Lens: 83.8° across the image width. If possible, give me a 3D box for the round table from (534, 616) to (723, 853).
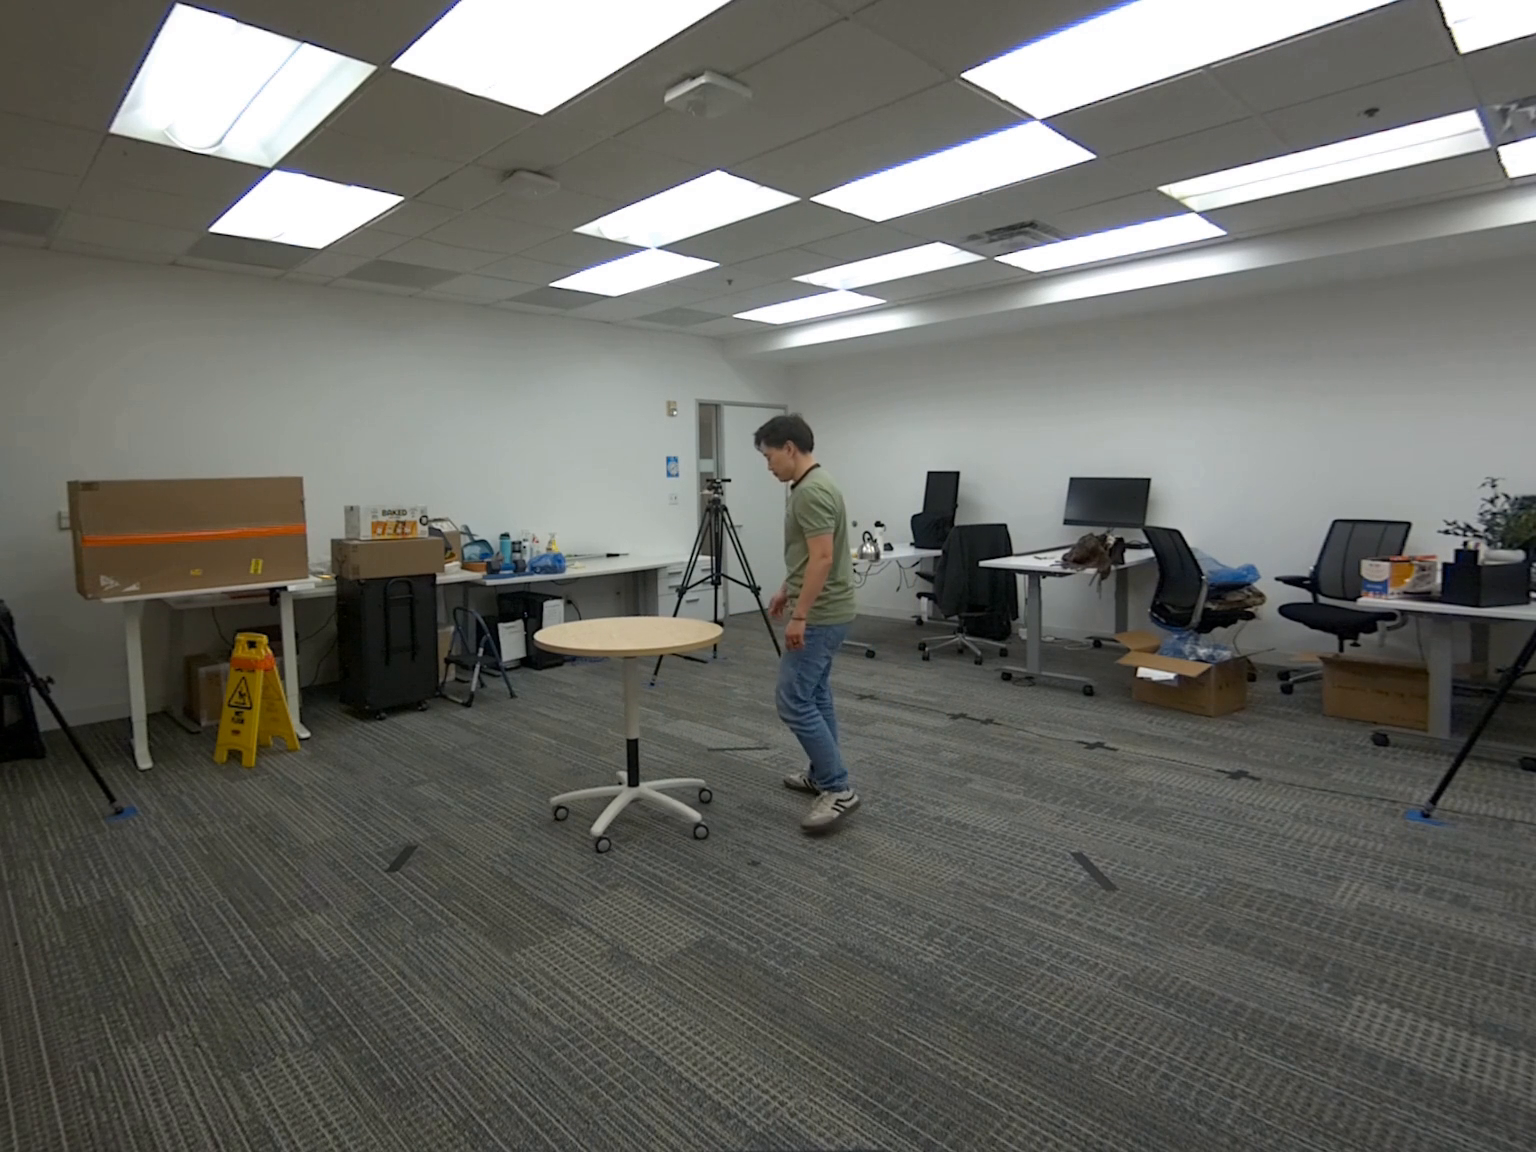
[{"bbox_3d":[-0.554,0.619,3.511,0.763,0.791,0.768,-1,5,-2],"label":"round table"}]
